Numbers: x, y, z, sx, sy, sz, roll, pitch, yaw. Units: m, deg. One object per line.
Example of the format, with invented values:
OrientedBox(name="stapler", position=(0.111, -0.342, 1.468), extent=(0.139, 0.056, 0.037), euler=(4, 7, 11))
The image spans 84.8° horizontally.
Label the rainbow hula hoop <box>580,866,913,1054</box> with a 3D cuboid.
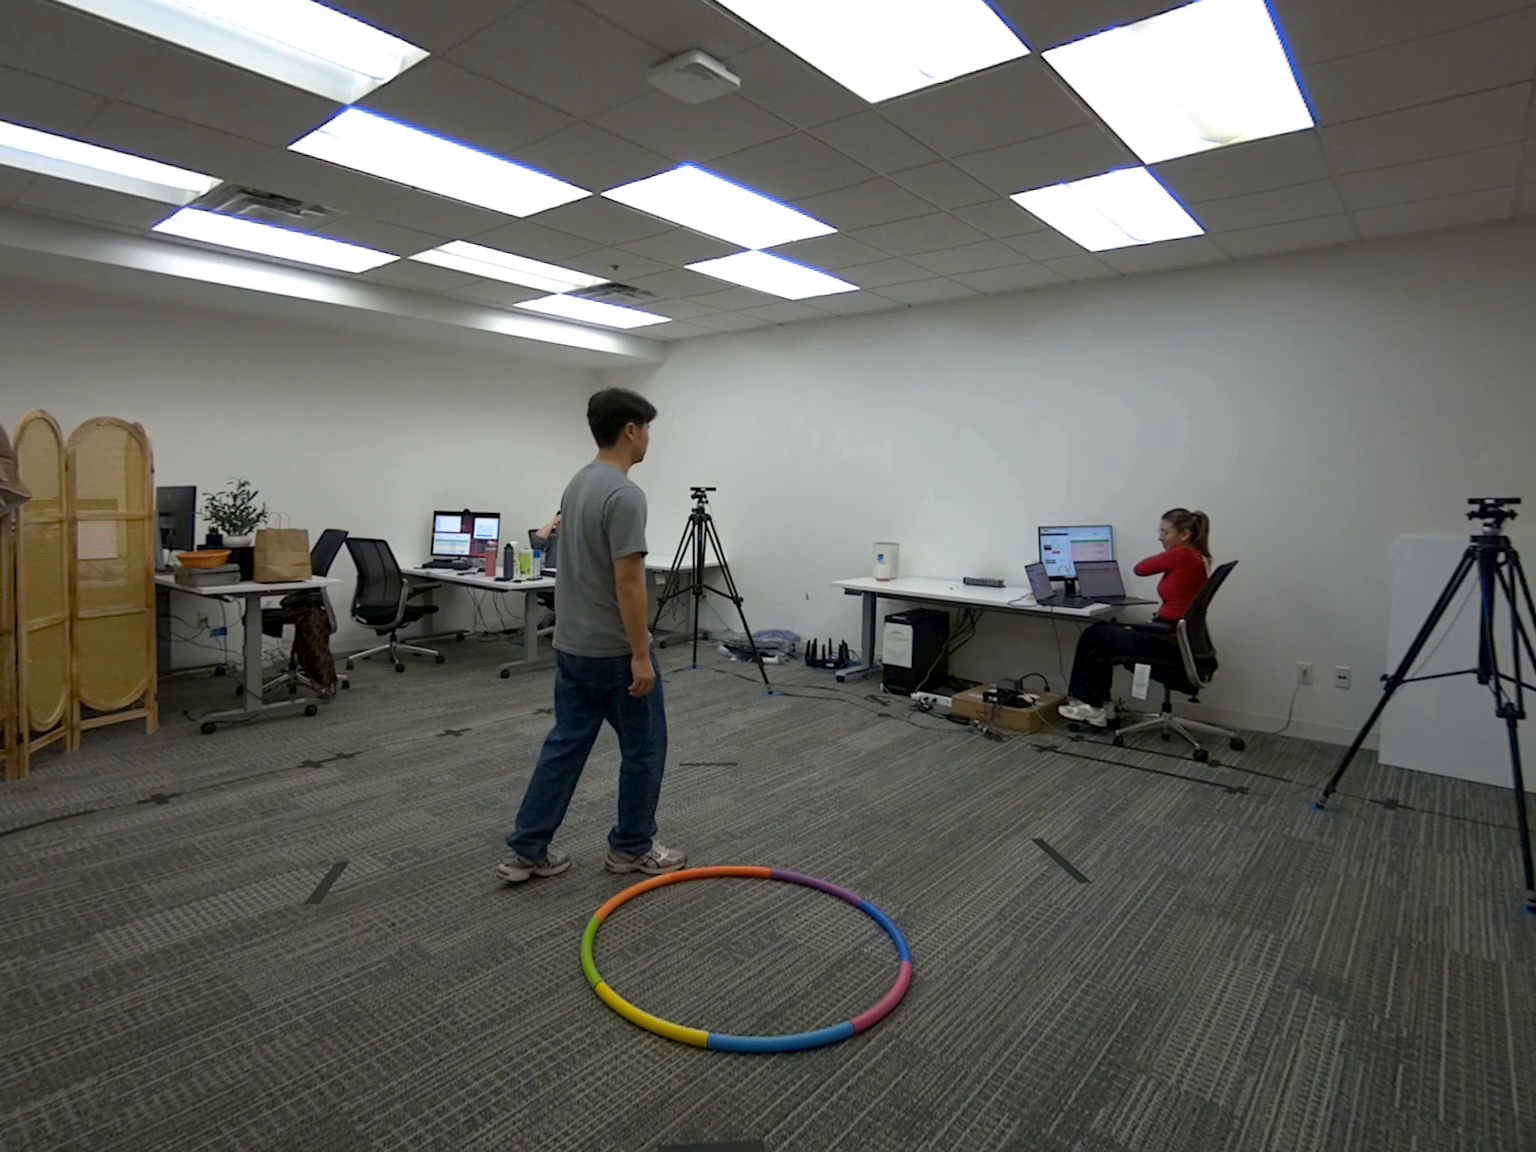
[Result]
OrientedBox(name="rainbow hula hoop", position=(-0.081, 1.090, 2.580), extent=(0.978, 0.035, 0.984), euler=(1, 6, -2))
